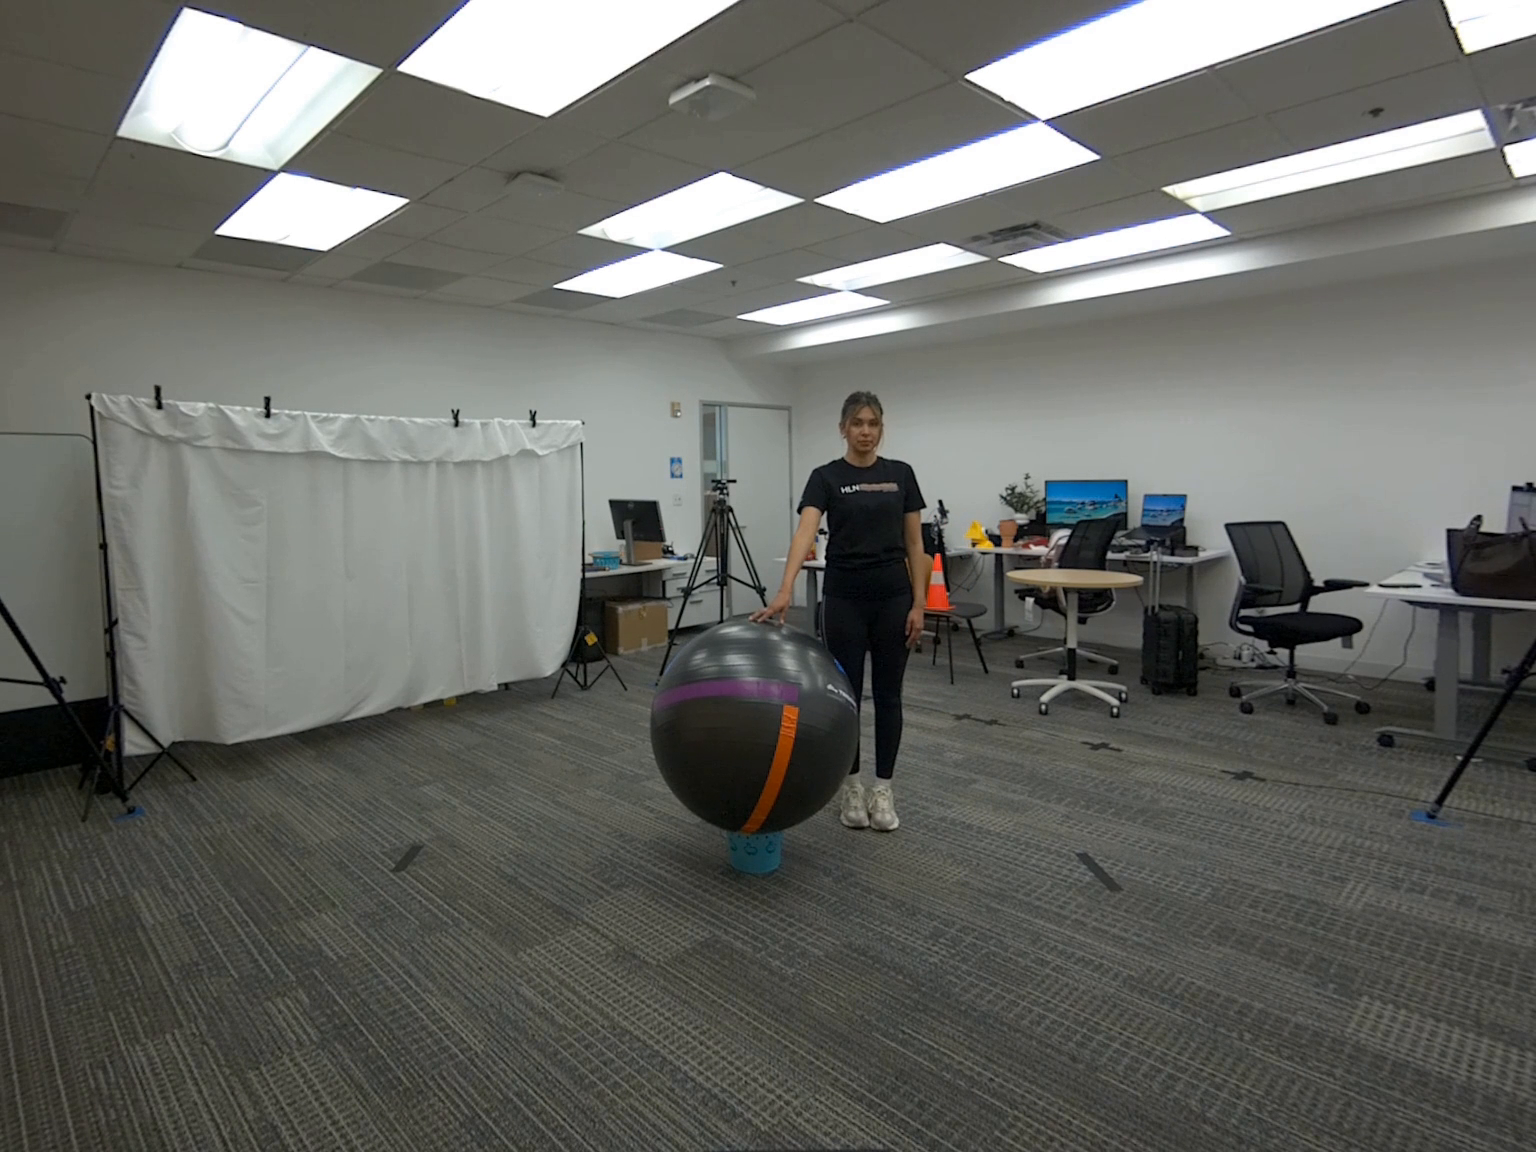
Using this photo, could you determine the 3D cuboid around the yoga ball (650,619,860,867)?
[{"bbox_3d":[-0.049,0.543,3.105,0.757,0.755,0.762,-1,5,-2],"label":"yoga ball"}]
